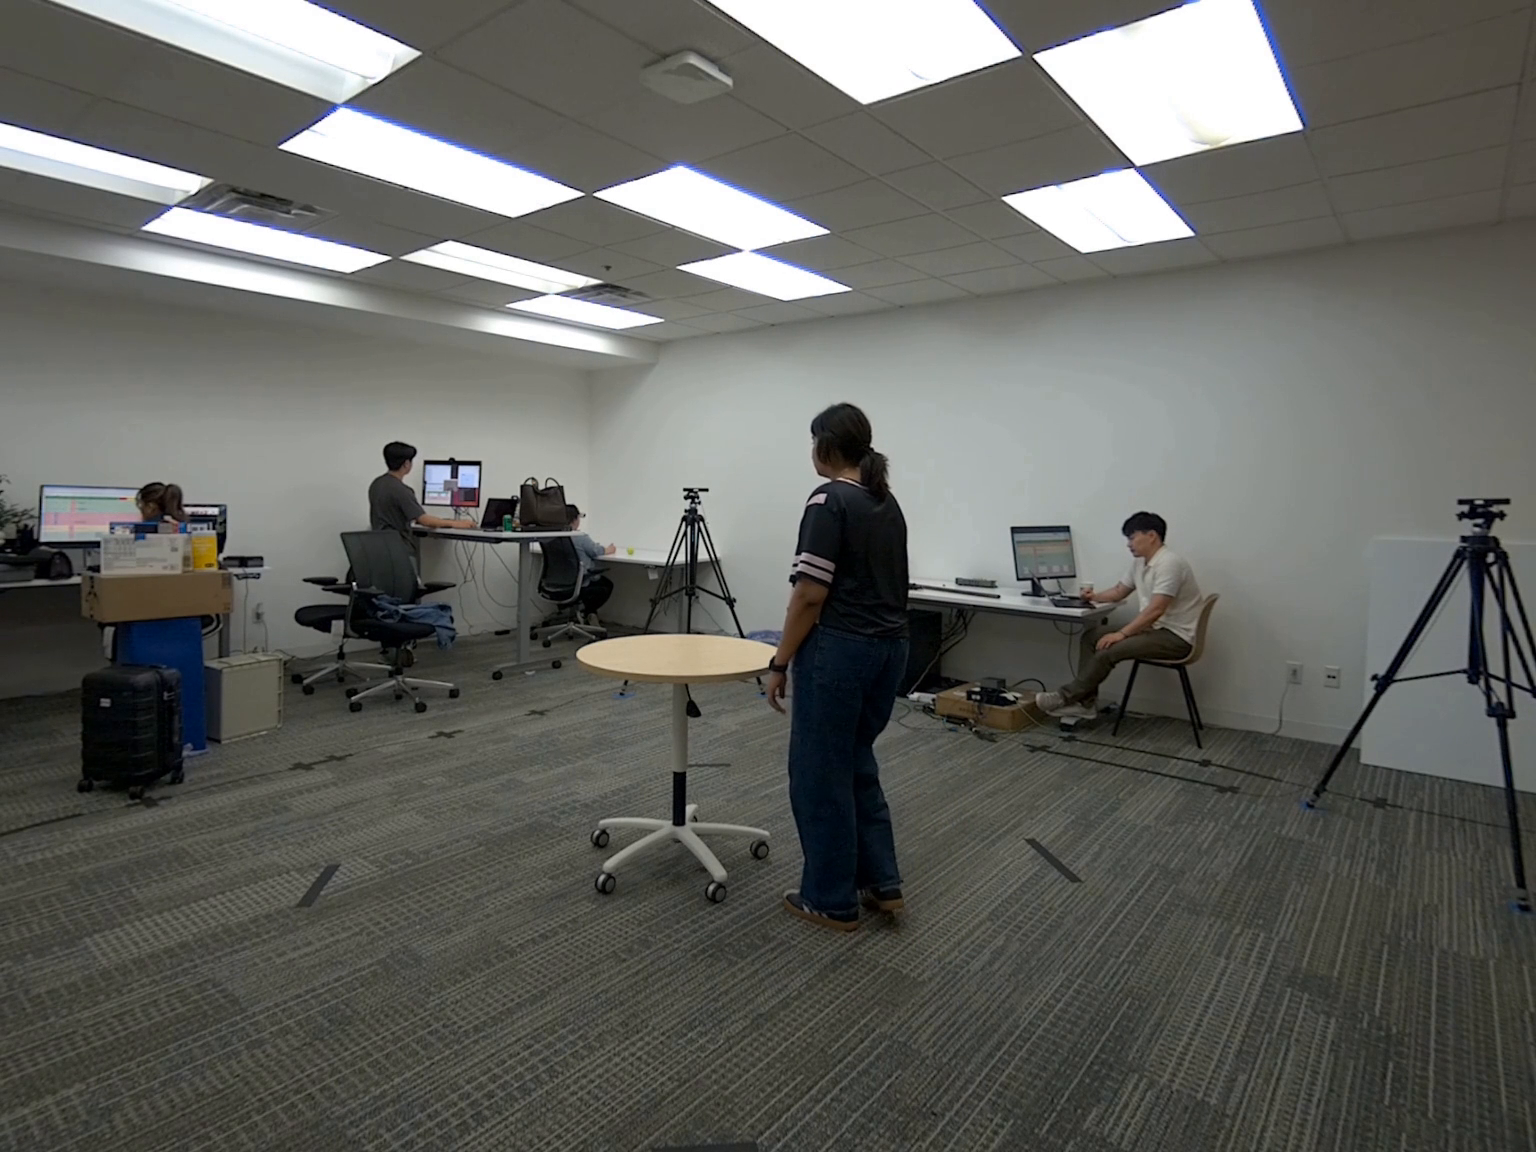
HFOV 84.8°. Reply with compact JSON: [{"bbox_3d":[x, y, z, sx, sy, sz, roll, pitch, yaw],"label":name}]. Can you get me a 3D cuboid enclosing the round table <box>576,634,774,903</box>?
[{"bbox_3d":[-0.340,0.674,3.156,0.763,0.791,0.767,1,4,-2],"label":"round table"}]
